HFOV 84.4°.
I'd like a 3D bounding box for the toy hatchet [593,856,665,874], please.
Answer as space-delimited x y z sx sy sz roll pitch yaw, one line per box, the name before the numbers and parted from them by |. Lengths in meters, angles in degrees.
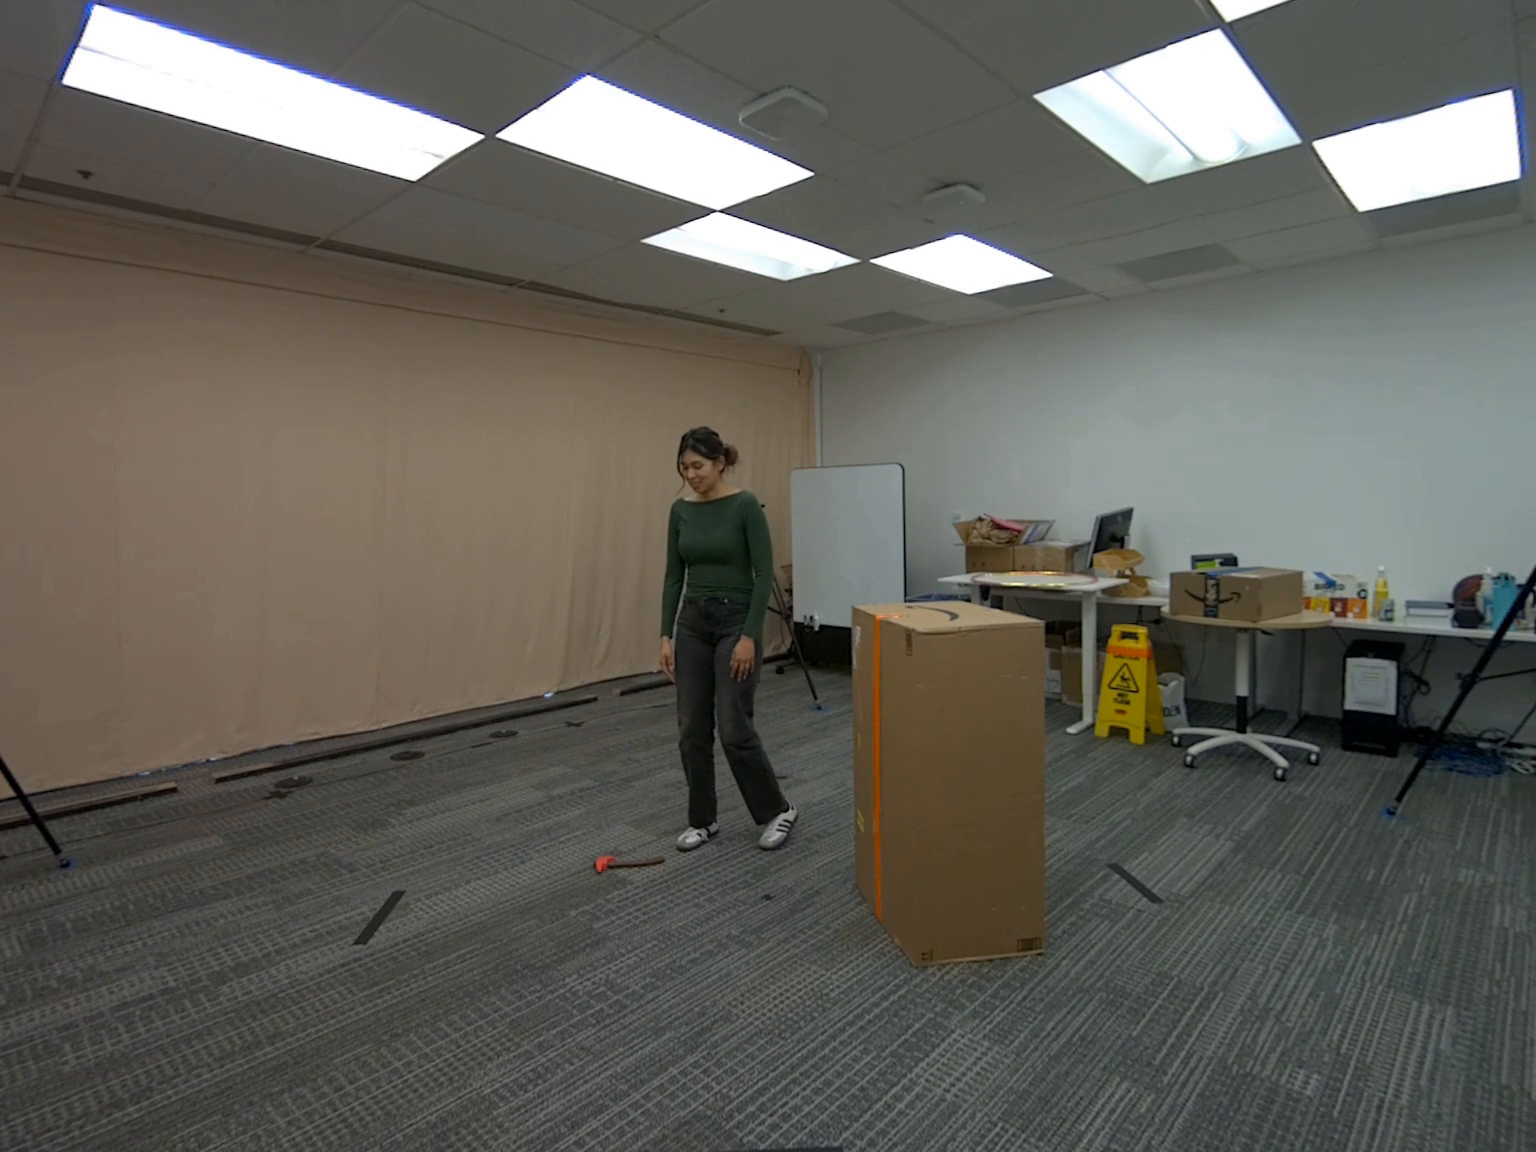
toy hatchet | -0.542 1.110 3.296 0.264 0.029 0.134 -2 4 -23
